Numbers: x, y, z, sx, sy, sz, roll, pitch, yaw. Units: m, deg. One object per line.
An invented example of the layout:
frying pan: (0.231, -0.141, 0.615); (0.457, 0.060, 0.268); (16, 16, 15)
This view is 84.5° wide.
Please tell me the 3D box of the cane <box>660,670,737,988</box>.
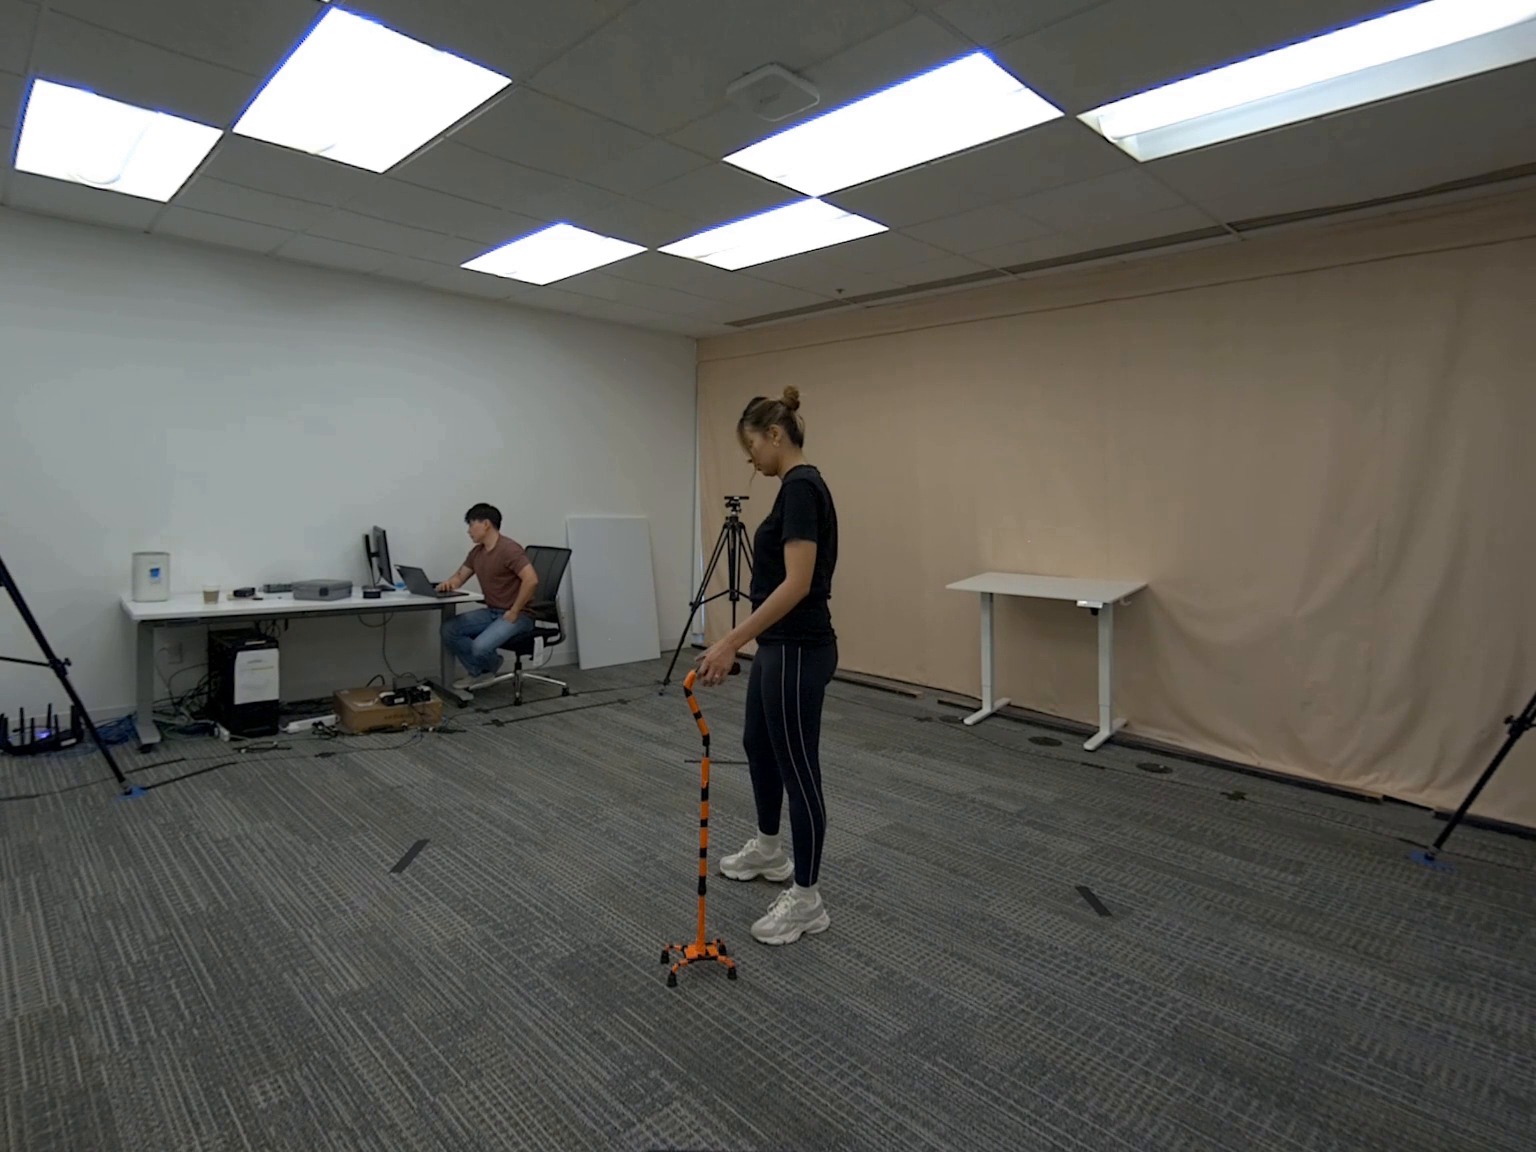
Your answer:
cane: (-0.192, 0.711, 2.447); (0.204, 0.906, 0.154); (1, 3, -16)
